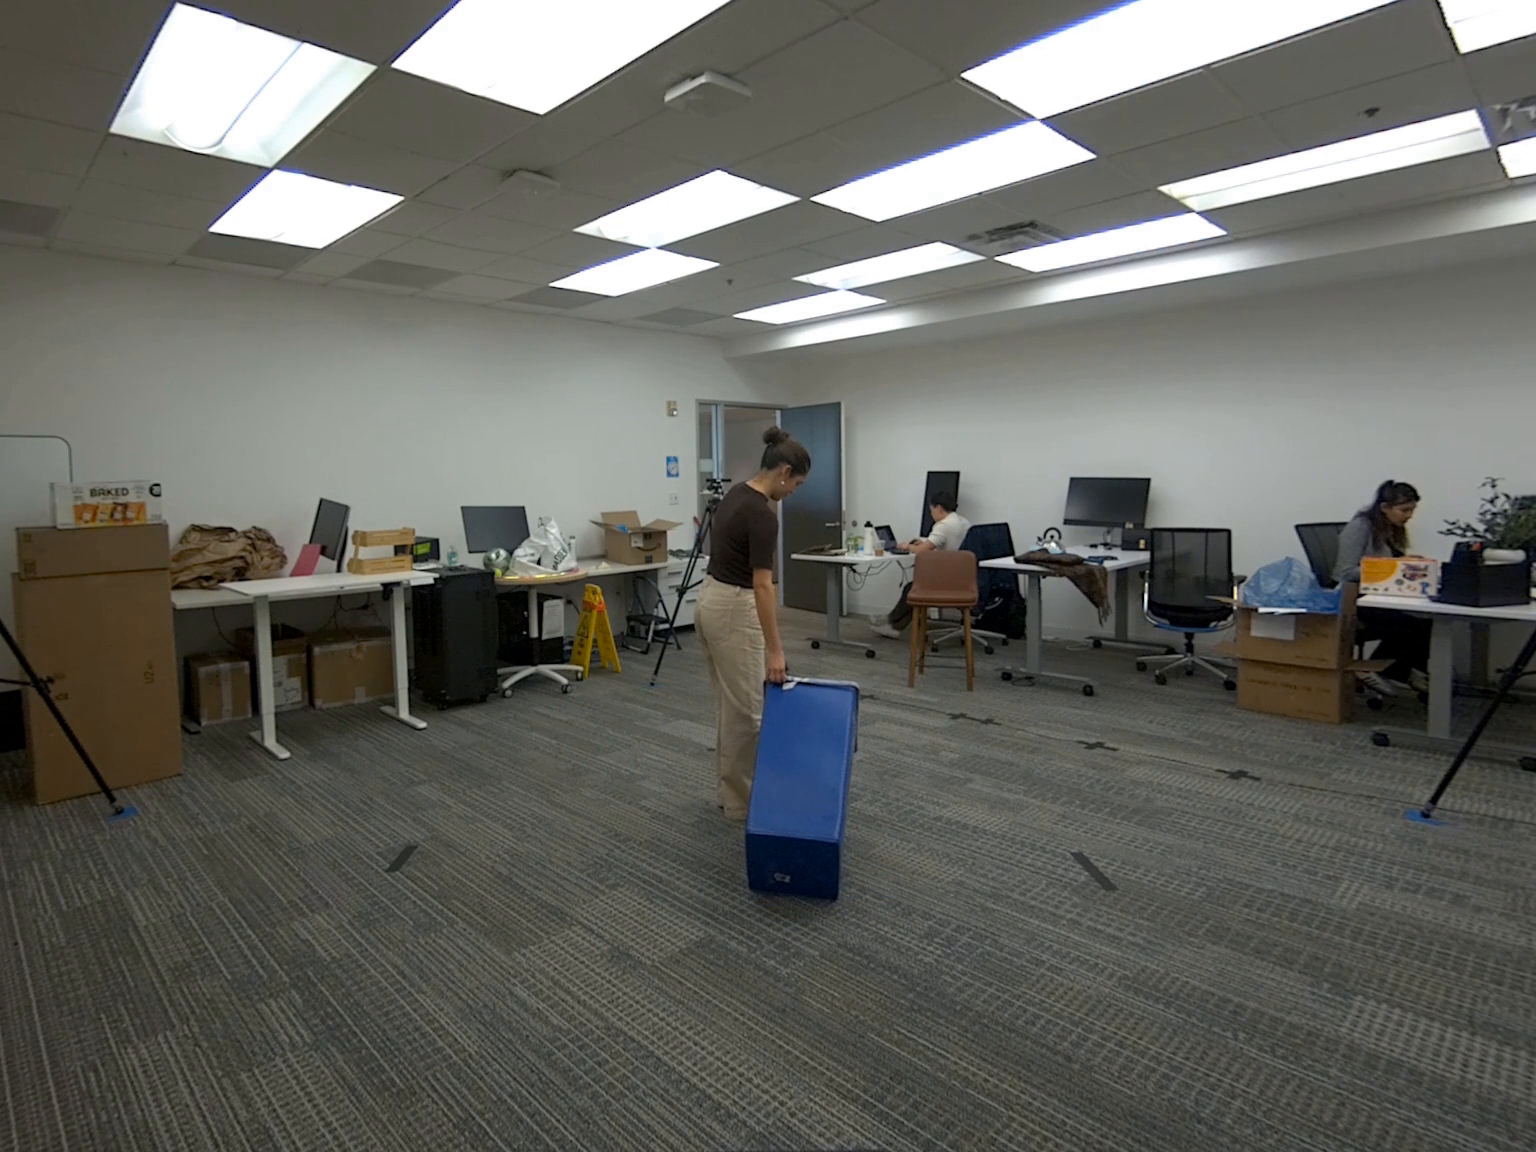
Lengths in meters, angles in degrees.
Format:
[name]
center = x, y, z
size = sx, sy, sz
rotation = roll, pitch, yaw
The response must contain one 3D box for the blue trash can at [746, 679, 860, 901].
[blue trash can]
center = 0.137, 0.743, 3.062
size = 0.381, 0.364, 0.727
rotation = 2, 34, 6
